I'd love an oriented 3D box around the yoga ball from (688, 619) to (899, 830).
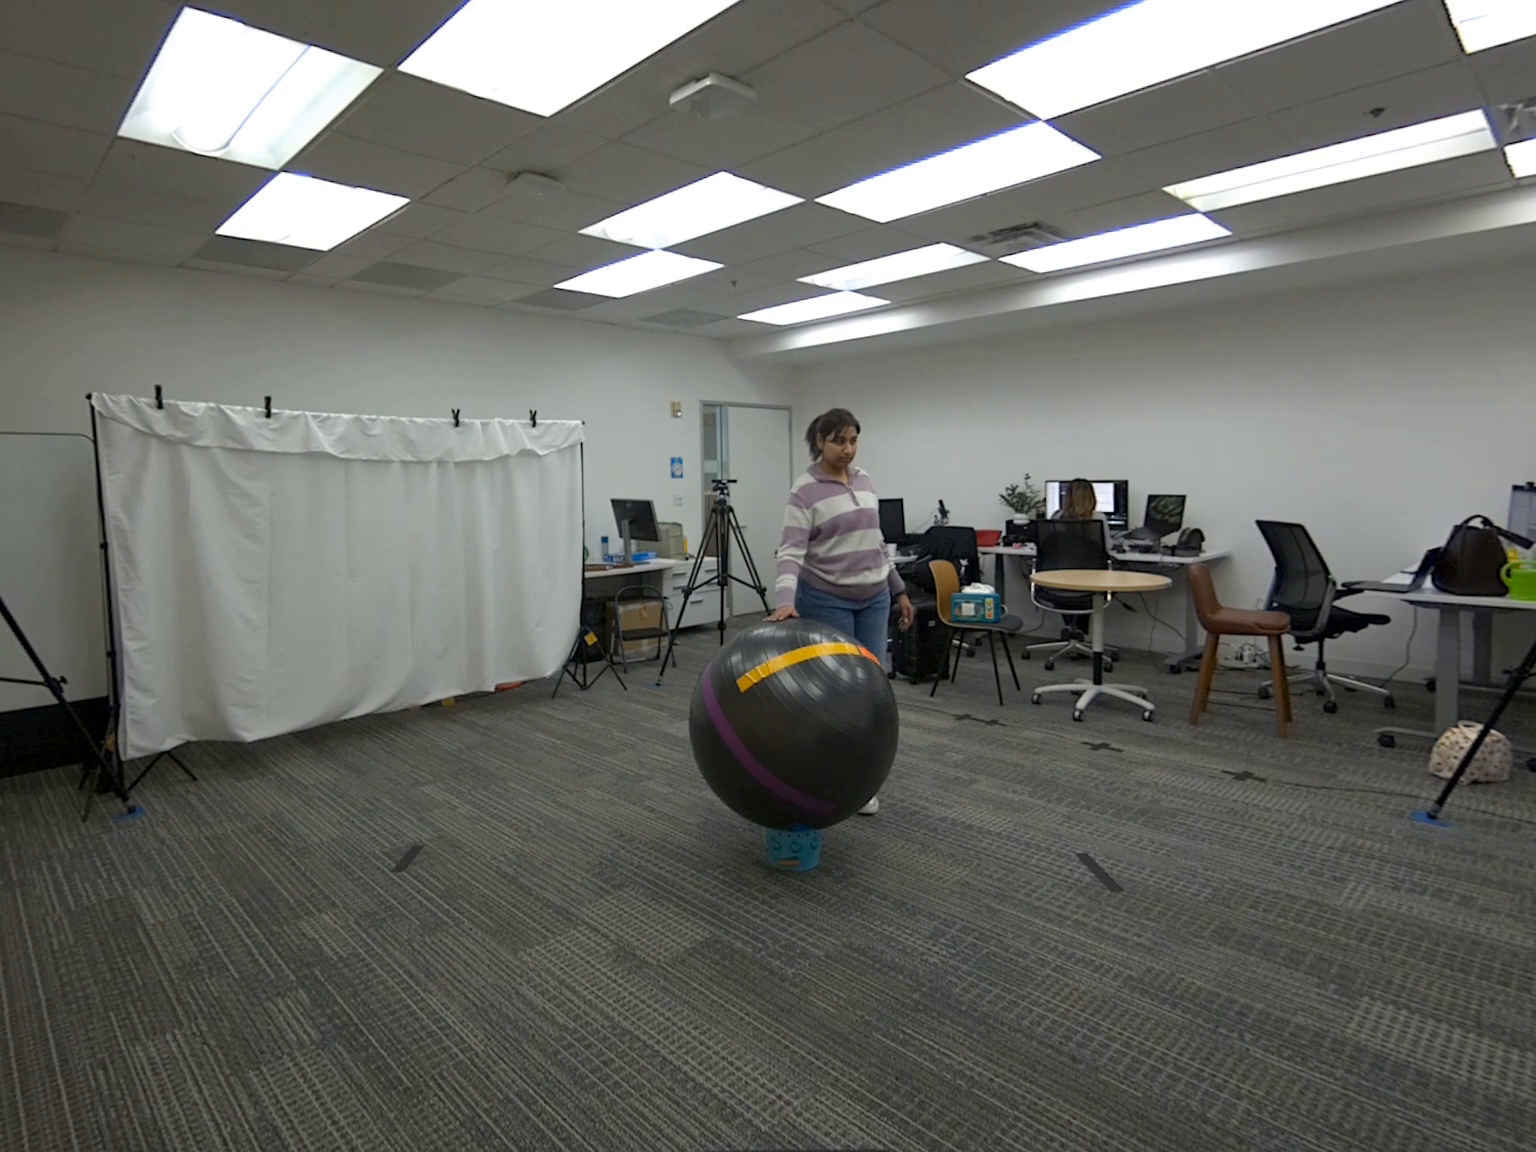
[{"bbox_3d":[0.088,0.534,3.106,0.757,0.755,0.762,-1,5,-2],"label":"yoga ball"}]
